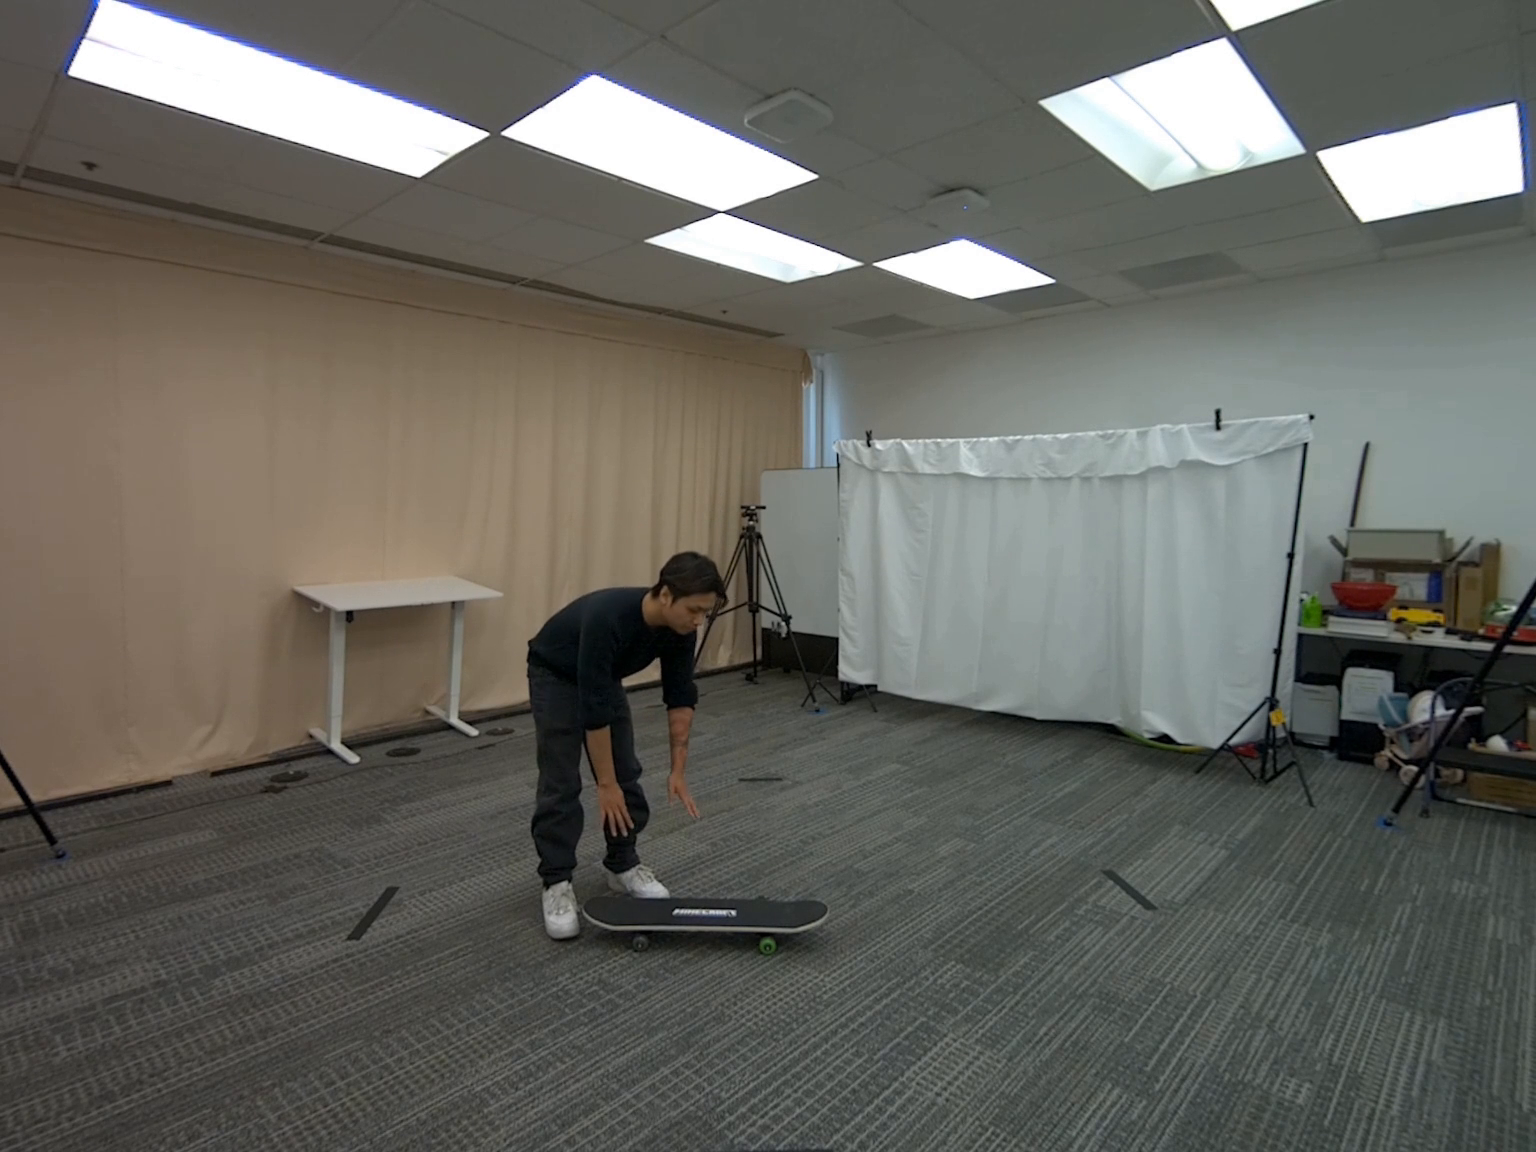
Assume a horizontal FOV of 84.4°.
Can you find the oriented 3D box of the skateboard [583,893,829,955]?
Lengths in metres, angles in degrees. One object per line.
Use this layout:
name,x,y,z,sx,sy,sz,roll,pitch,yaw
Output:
skateboard,-0.196,1.113,2.697,0.787,0.110,0.193,-1,5,2
